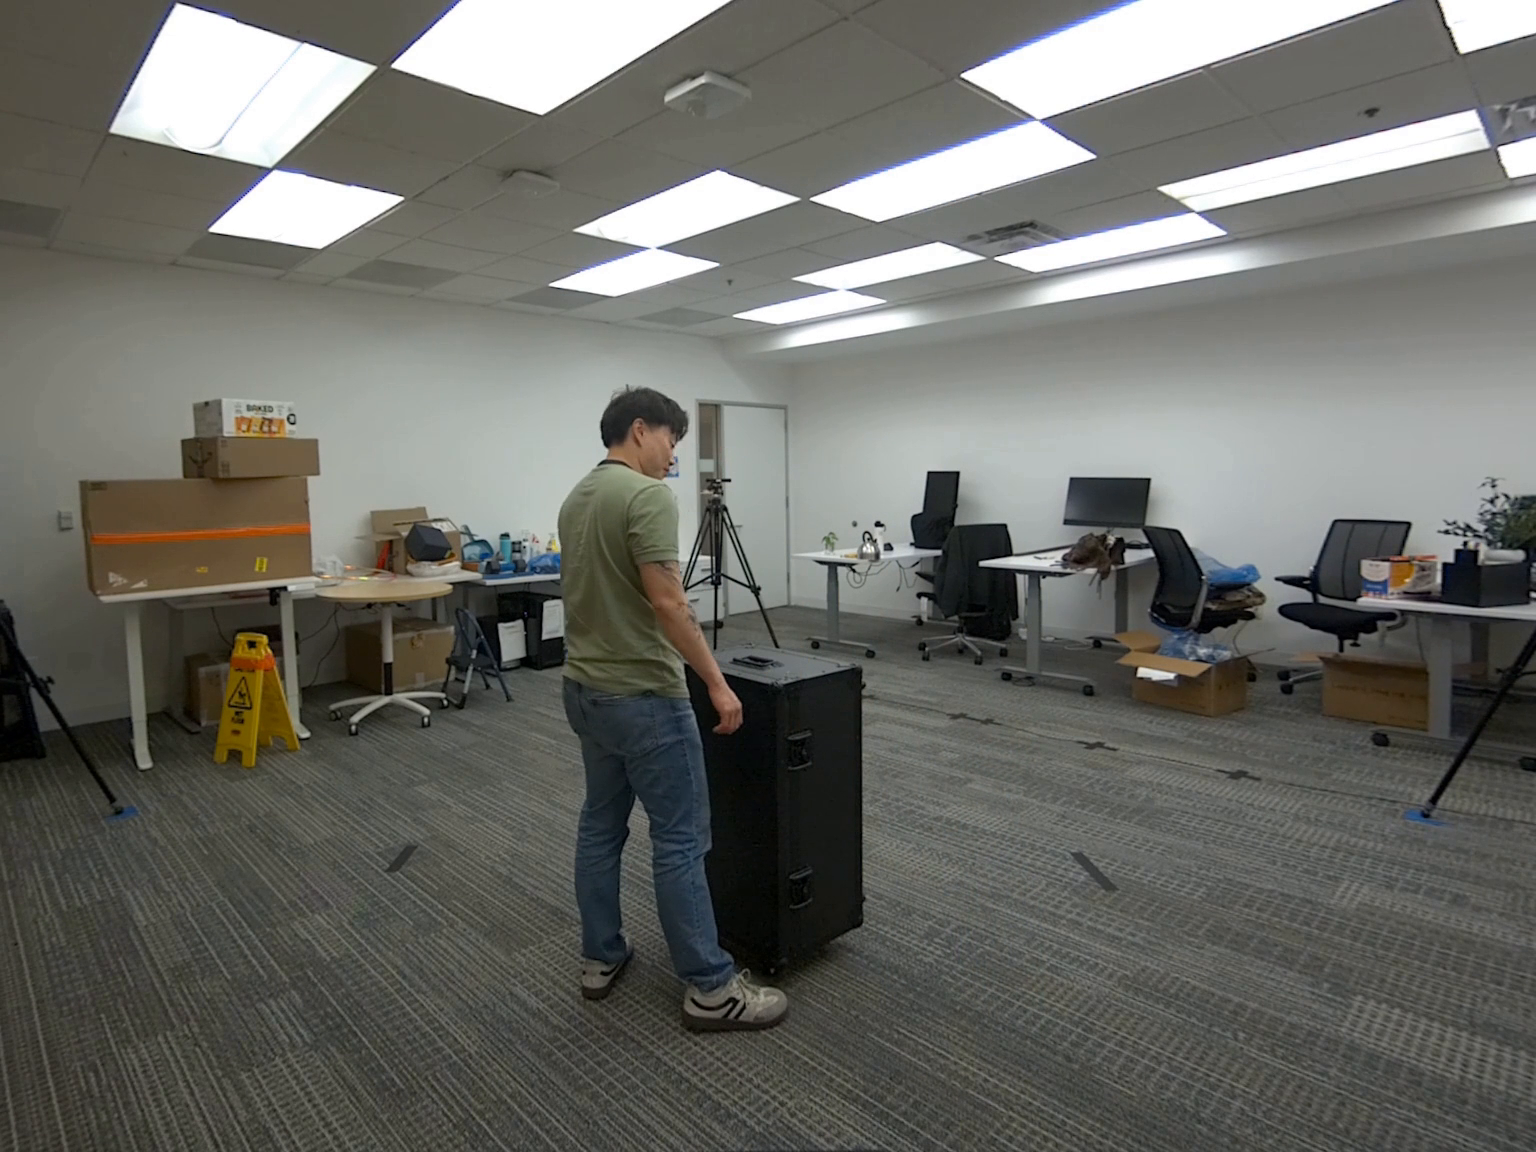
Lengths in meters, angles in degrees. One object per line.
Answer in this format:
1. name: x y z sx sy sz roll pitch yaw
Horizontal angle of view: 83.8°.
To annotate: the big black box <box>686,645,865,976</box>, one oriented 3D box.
1. big black box: -0.002 0.677 2.589 0.385 0.859 0.537 -3 5 -42
